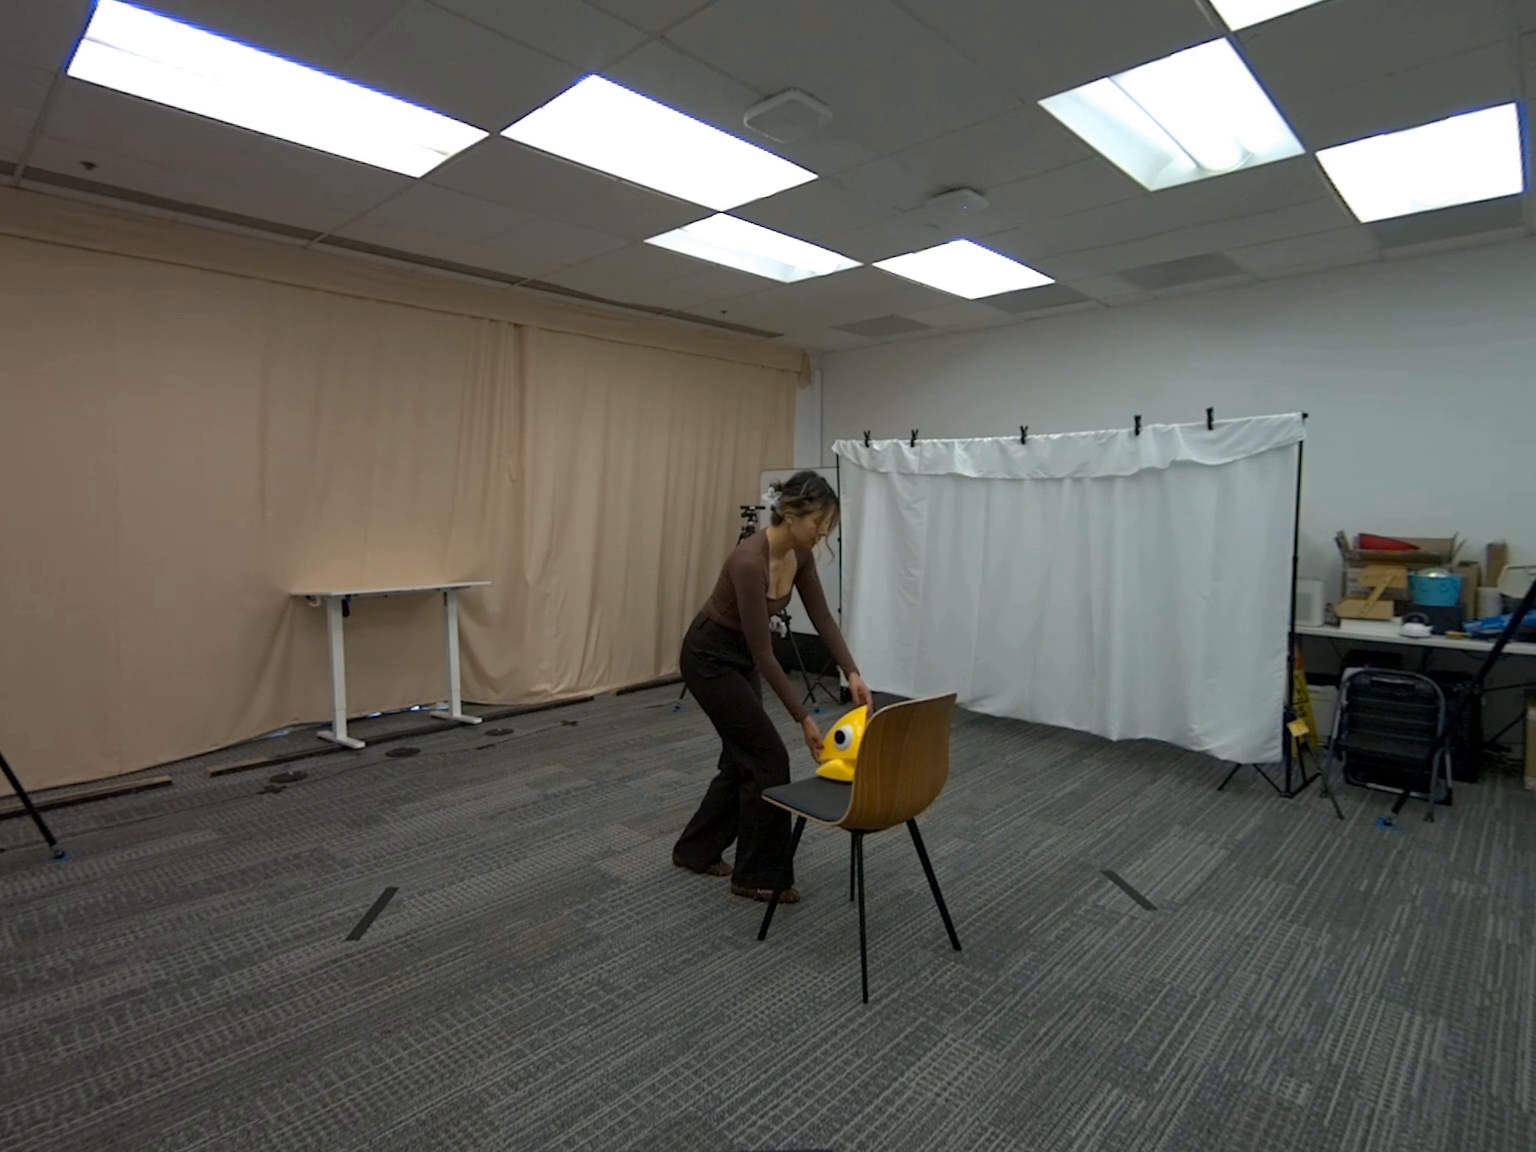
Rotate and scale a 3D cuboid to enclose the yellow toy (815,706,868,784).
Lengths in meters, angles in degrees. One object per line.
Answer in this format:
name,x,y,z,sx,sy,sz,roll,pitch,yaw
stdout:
yellow toy,0.272,0.544,2.833,0.197,0.230,0.201,3,6,18
